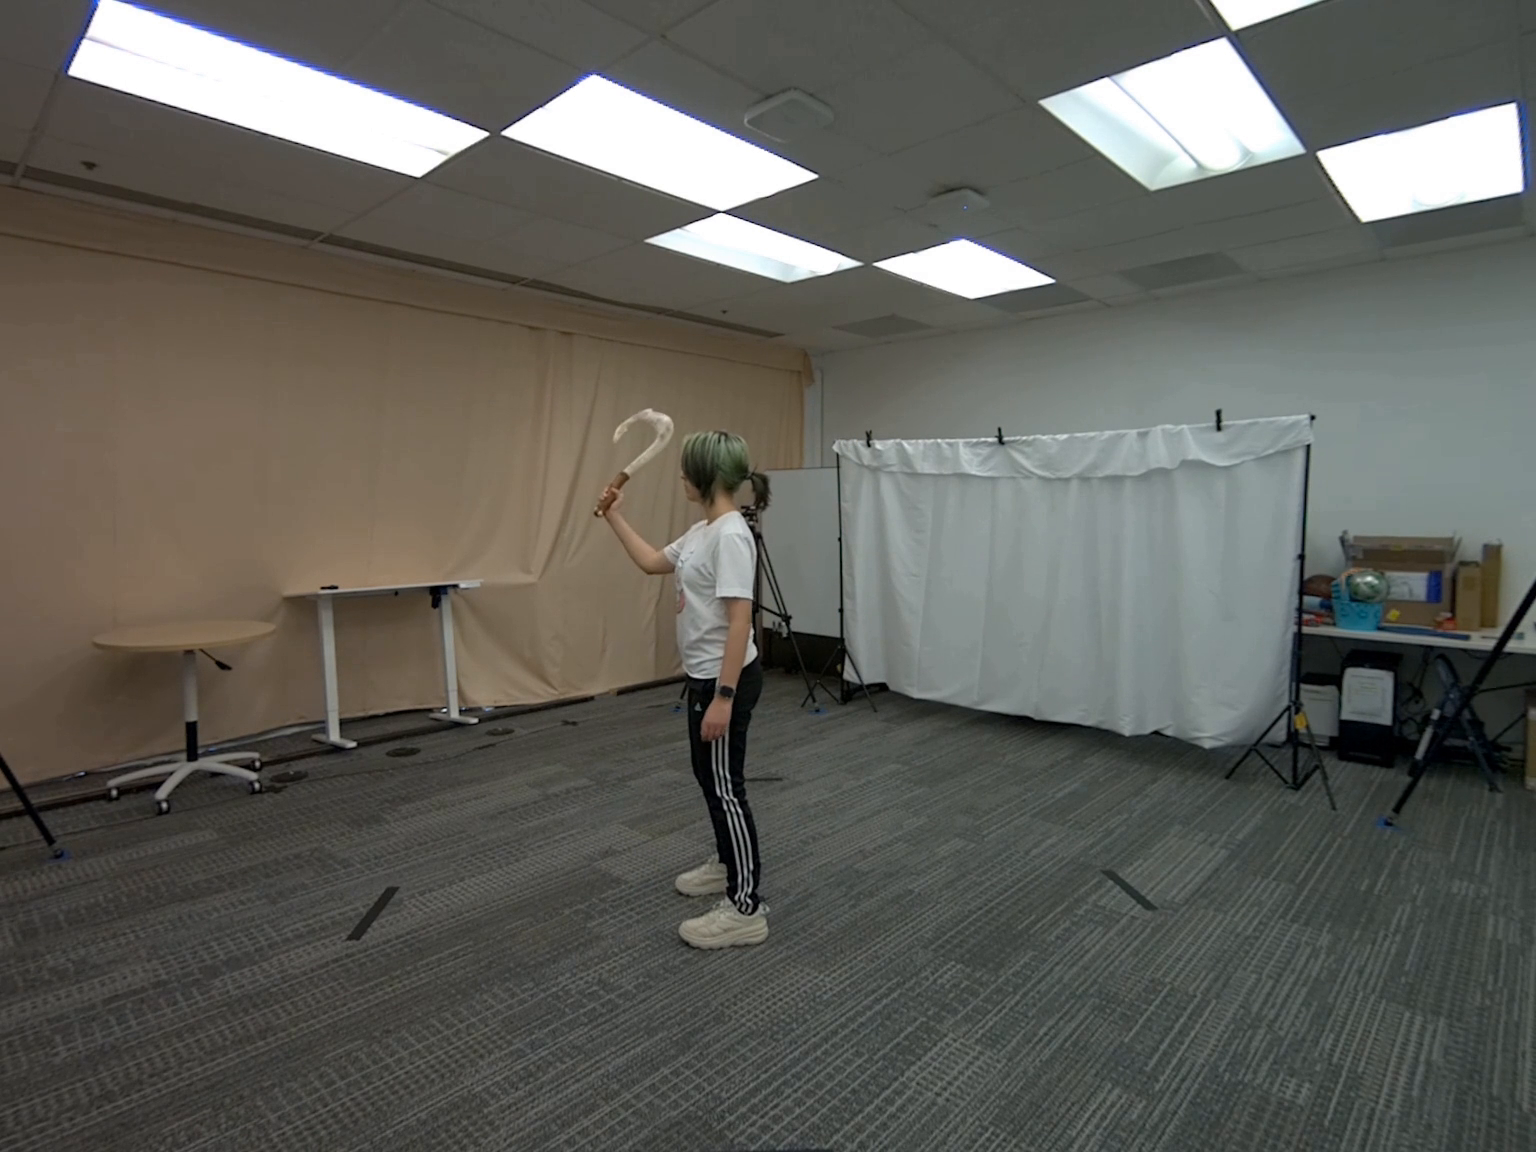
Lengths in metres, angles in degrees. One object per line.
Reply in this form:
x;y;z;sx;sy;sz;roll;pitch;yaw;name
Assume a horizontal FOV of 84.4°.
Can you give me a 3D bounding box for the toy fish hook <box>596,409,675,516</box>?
-0.563;-0.426;3.206;0.231;0.506;0.047;20;-24;25;toy fish hook
